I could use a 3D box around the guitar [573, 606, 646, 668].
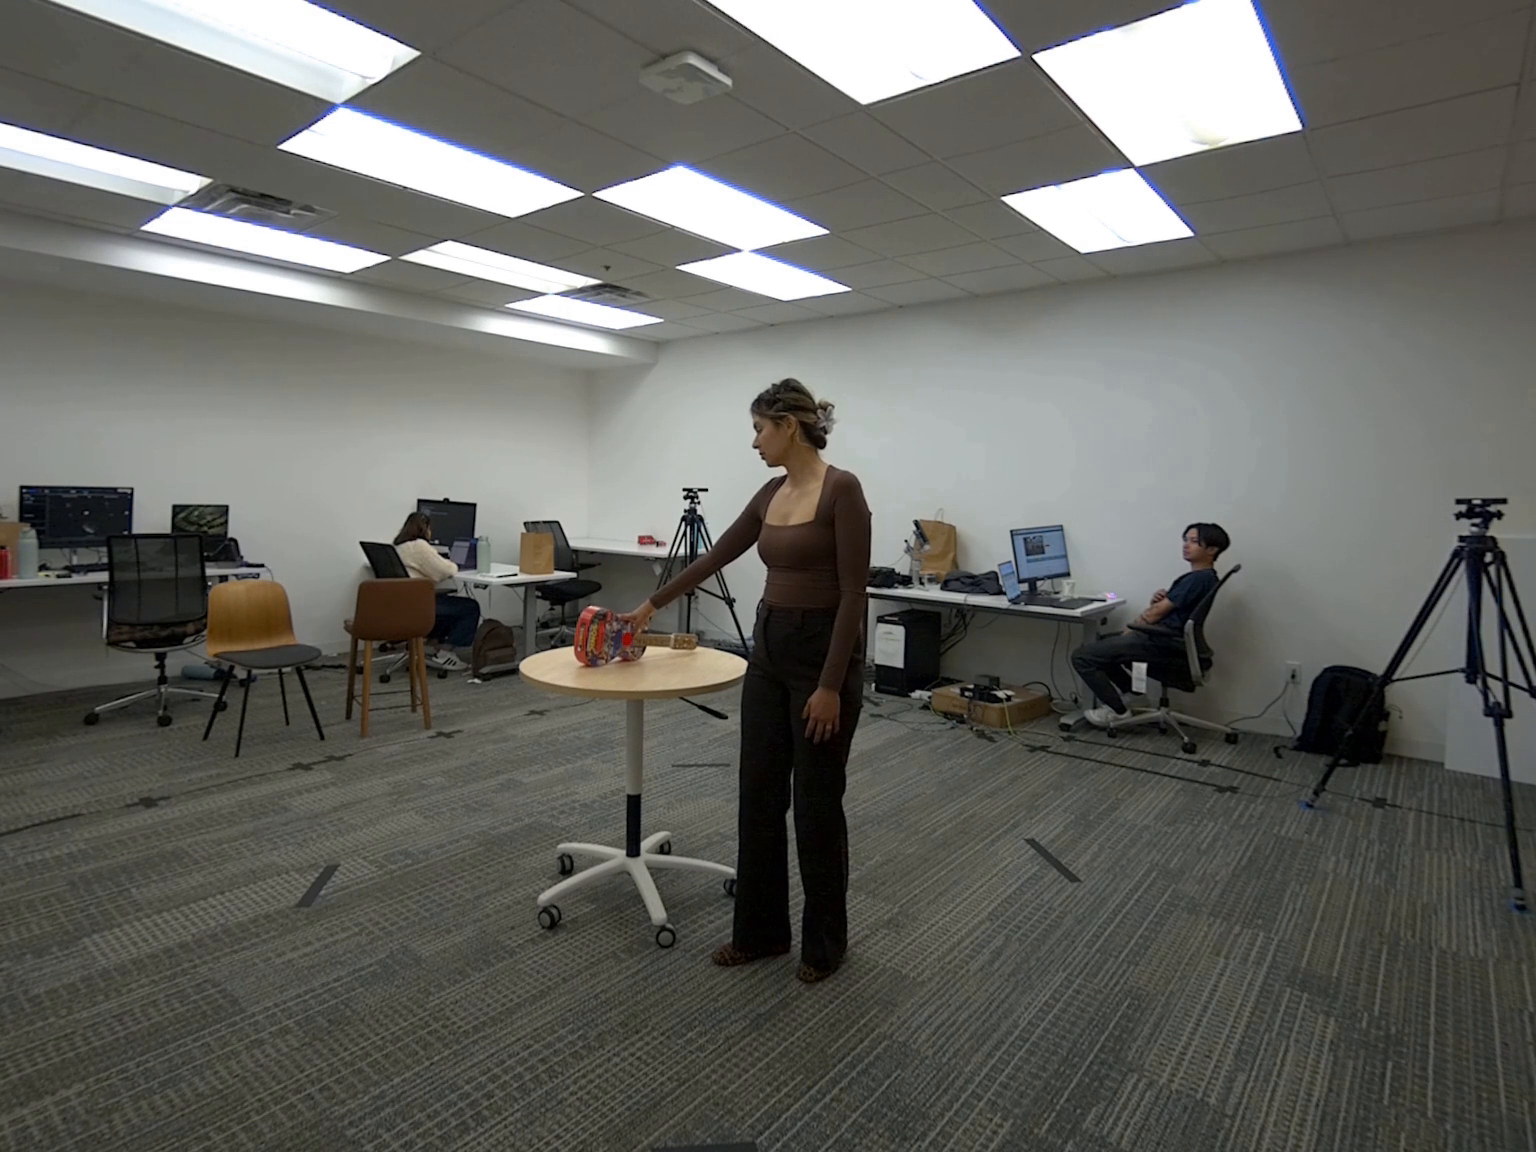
[{"bbox_3d":[-0.457,0.243,2.934,0.073,0.194,0.478,5,-11,45],"label":"guitar"}]
